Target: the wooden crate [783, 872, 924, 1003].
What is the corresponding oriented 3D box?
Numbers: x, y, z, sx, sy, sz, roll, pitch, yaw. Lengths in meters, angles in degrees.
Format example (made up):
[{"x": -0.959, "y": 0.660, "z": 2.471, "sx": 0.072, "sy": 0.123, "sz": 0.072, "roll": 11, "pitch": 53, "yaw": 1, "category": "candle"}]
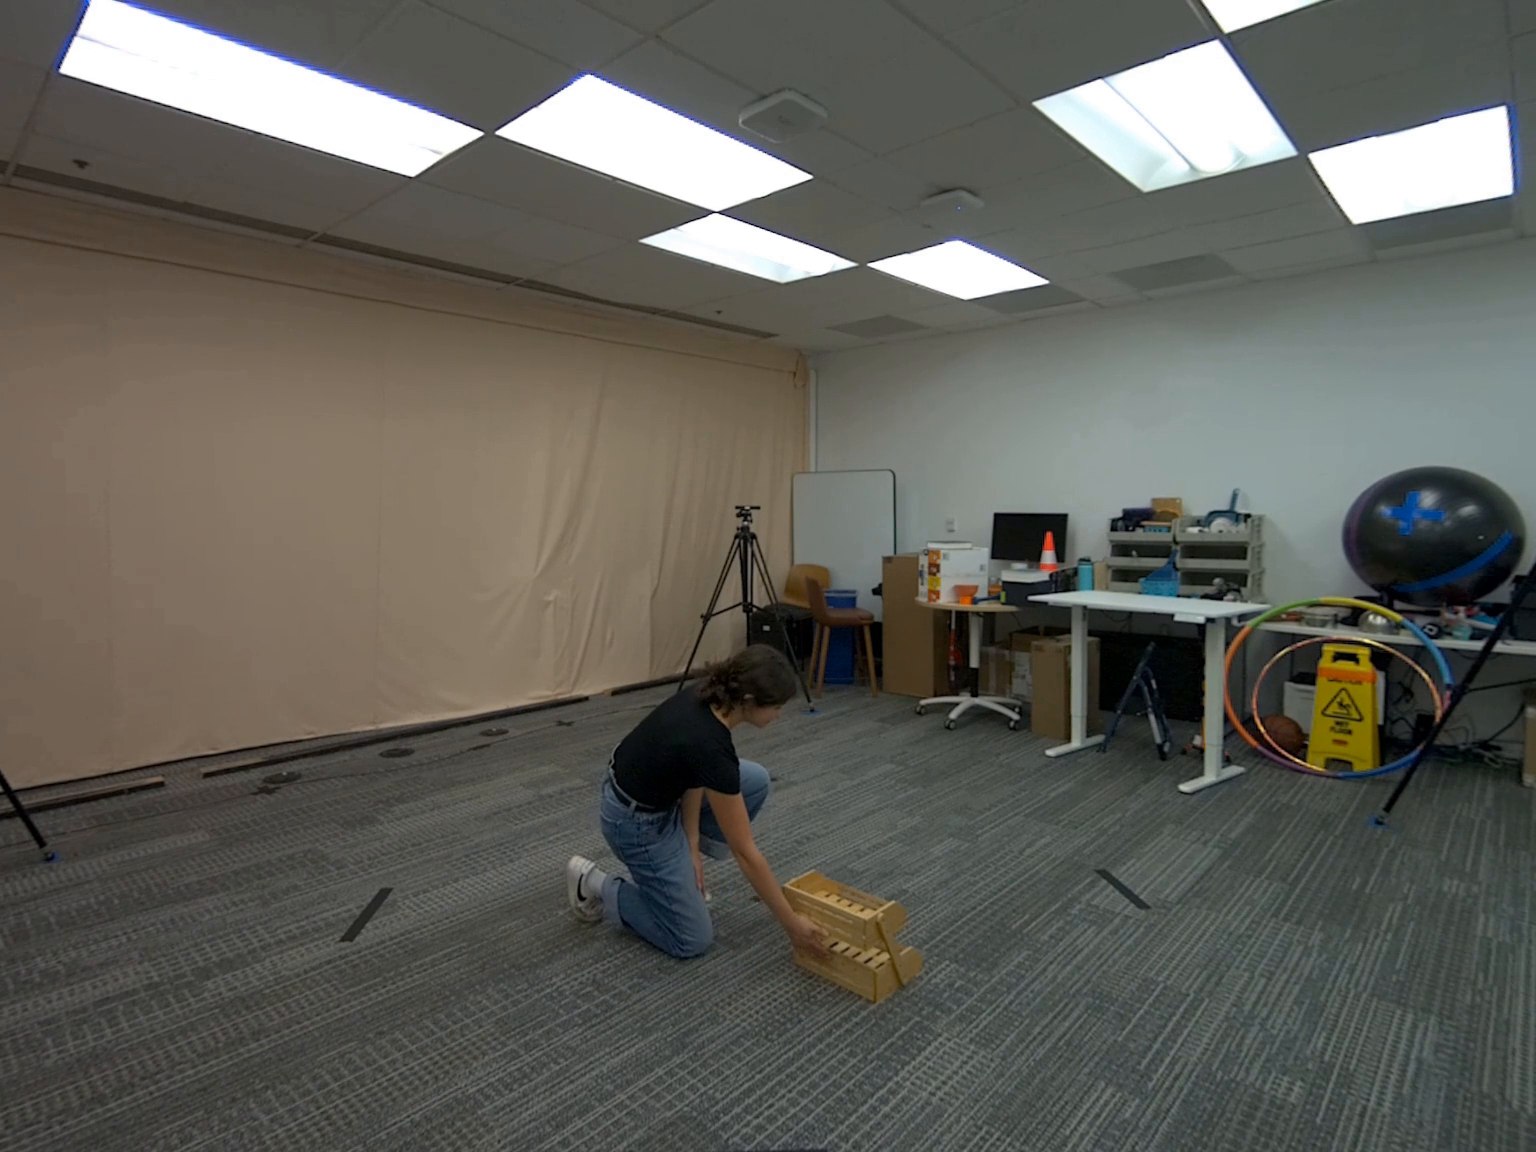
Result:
[{"x": 0.260, "y": 1.055, "z": 2.509, "sx": 0.335, "sy": 0.273, "sz": 0.293, "roll": 3, "pitch": 5, "yaw": 43, "category": "wooden crate"}]
